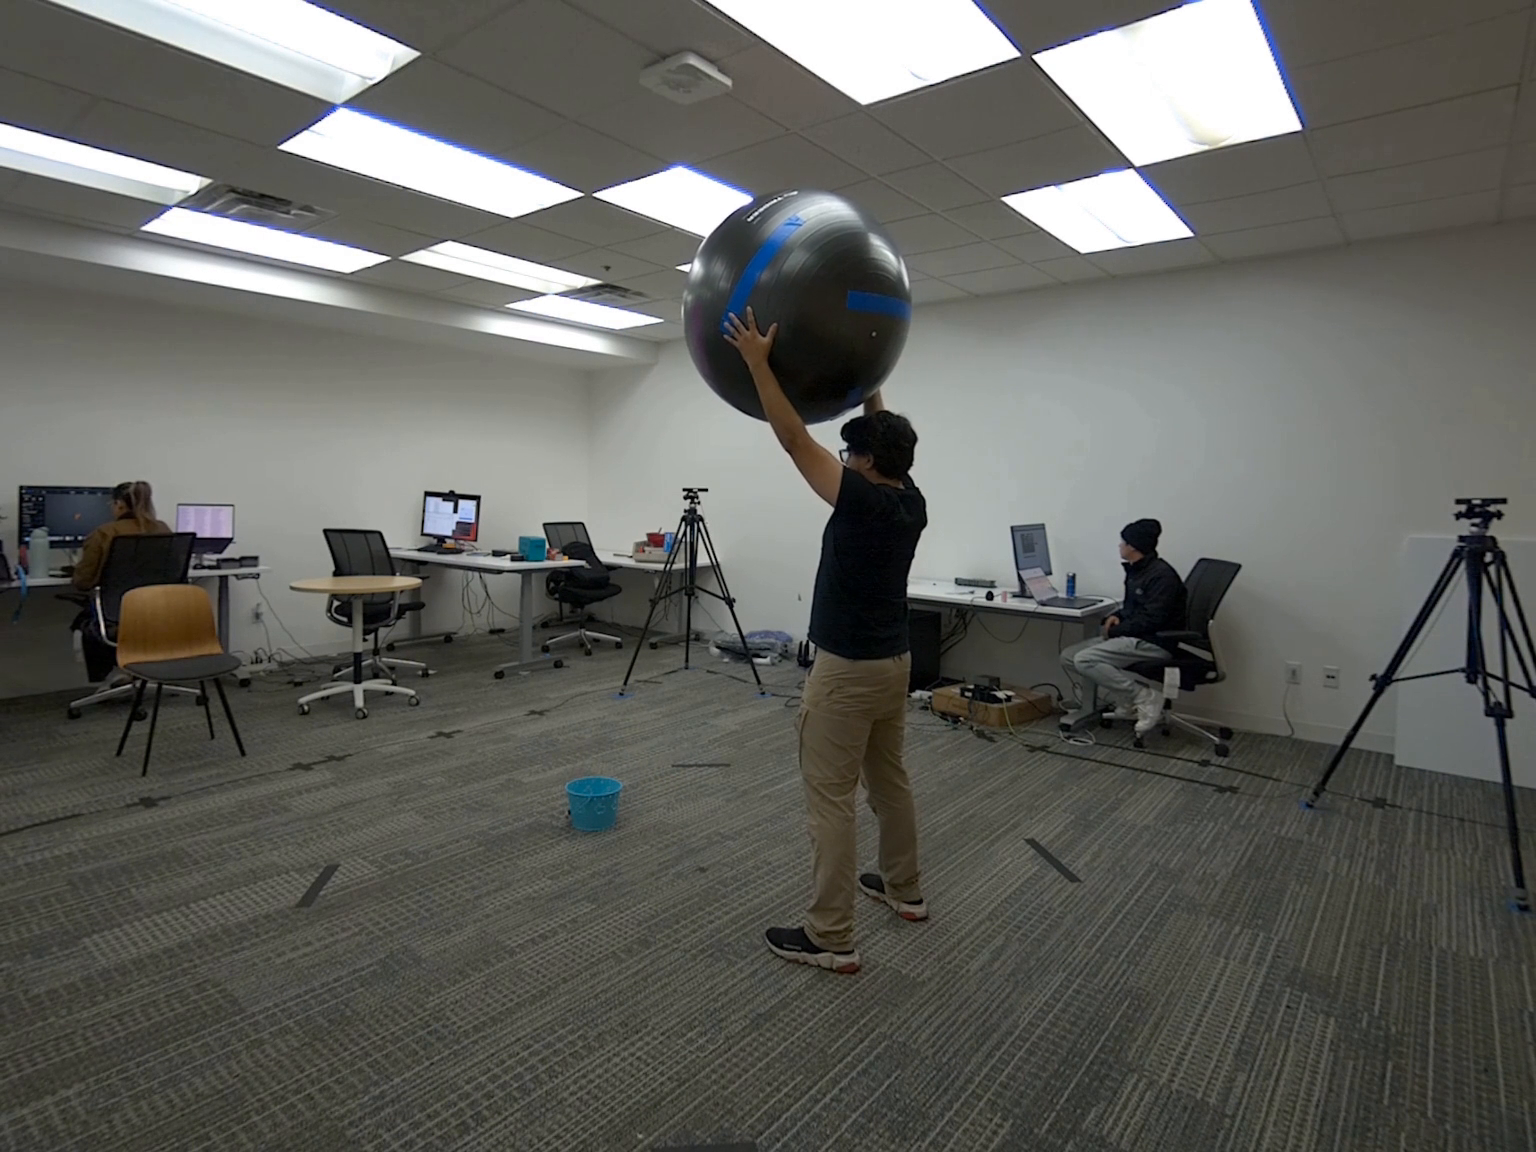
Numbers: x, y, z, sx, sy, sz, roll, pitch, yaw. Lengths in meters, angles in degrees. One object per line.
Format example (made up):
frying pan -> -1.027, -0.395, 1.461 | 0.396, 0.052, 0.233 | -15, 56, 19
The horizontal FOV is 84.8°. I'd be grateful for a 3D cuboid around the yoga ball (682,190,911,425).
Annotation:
yoga ball -> 0.085, -0.877, 2.832 | 0.757, 0.756, 0.761 | 1, 4, -2
